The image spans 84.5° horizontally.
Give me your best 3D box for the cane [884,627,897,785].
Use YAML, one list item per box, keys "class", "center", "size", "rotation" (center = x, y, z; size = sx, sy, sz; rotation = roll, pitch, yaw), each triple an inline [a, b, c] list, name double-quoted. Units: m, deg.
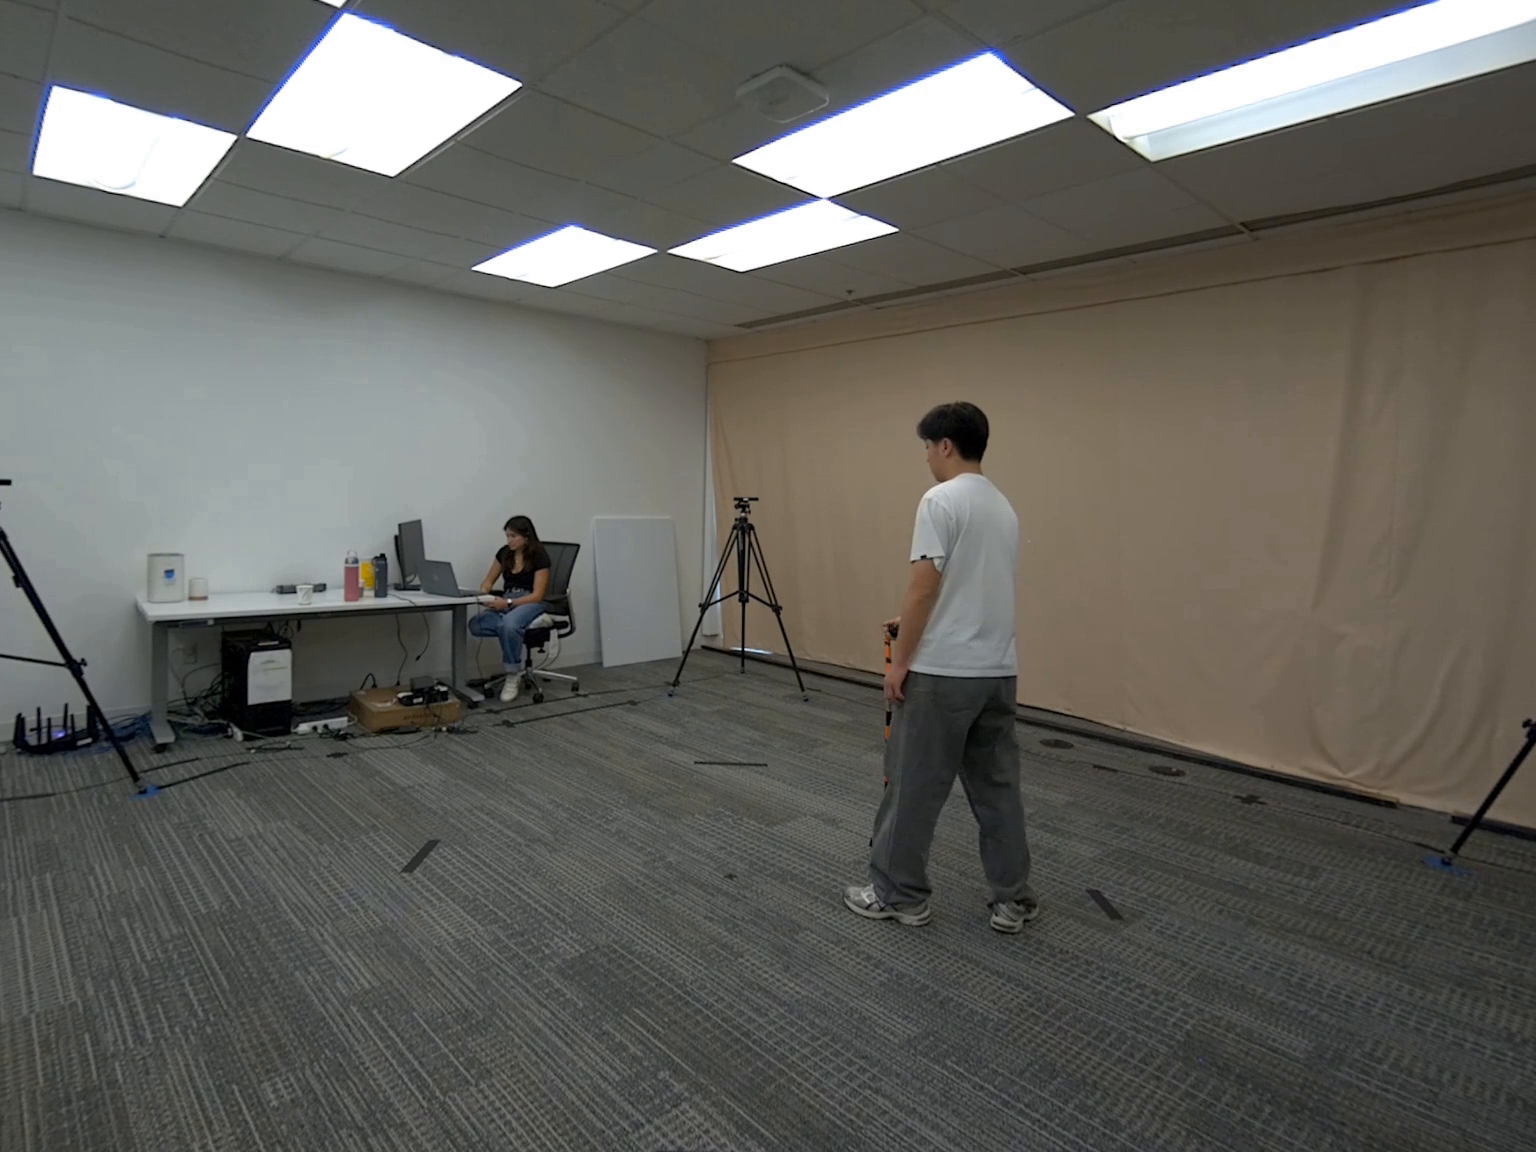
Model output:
- class: "cane"
  center: [0.500, 0.650, 3.302]
  size: [0.152, 0.906, 0.207]
  rotation: [2, 3, 0]
